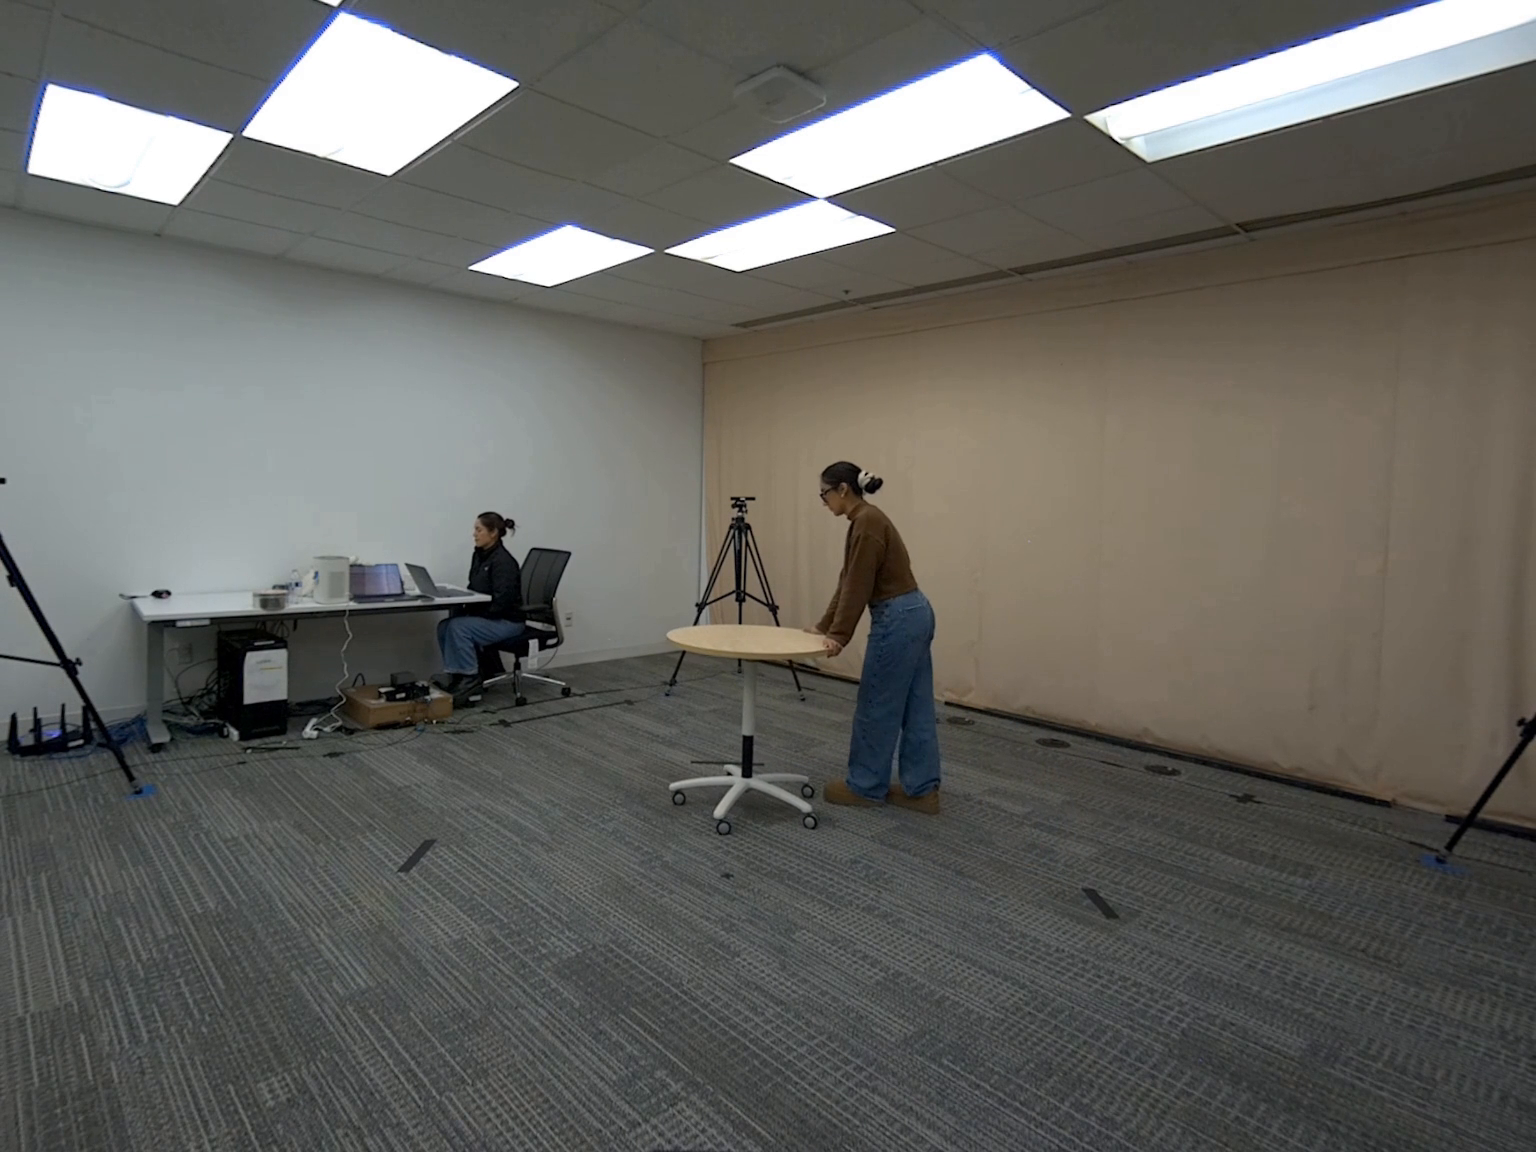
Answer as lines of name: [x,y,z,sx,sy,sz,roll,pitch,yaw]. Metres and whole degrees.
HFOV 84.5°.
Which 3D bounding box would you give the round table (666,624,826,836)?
round table: [-0.091,0.665,3.791,0.763,0.792,0.766,2,4,-1]
